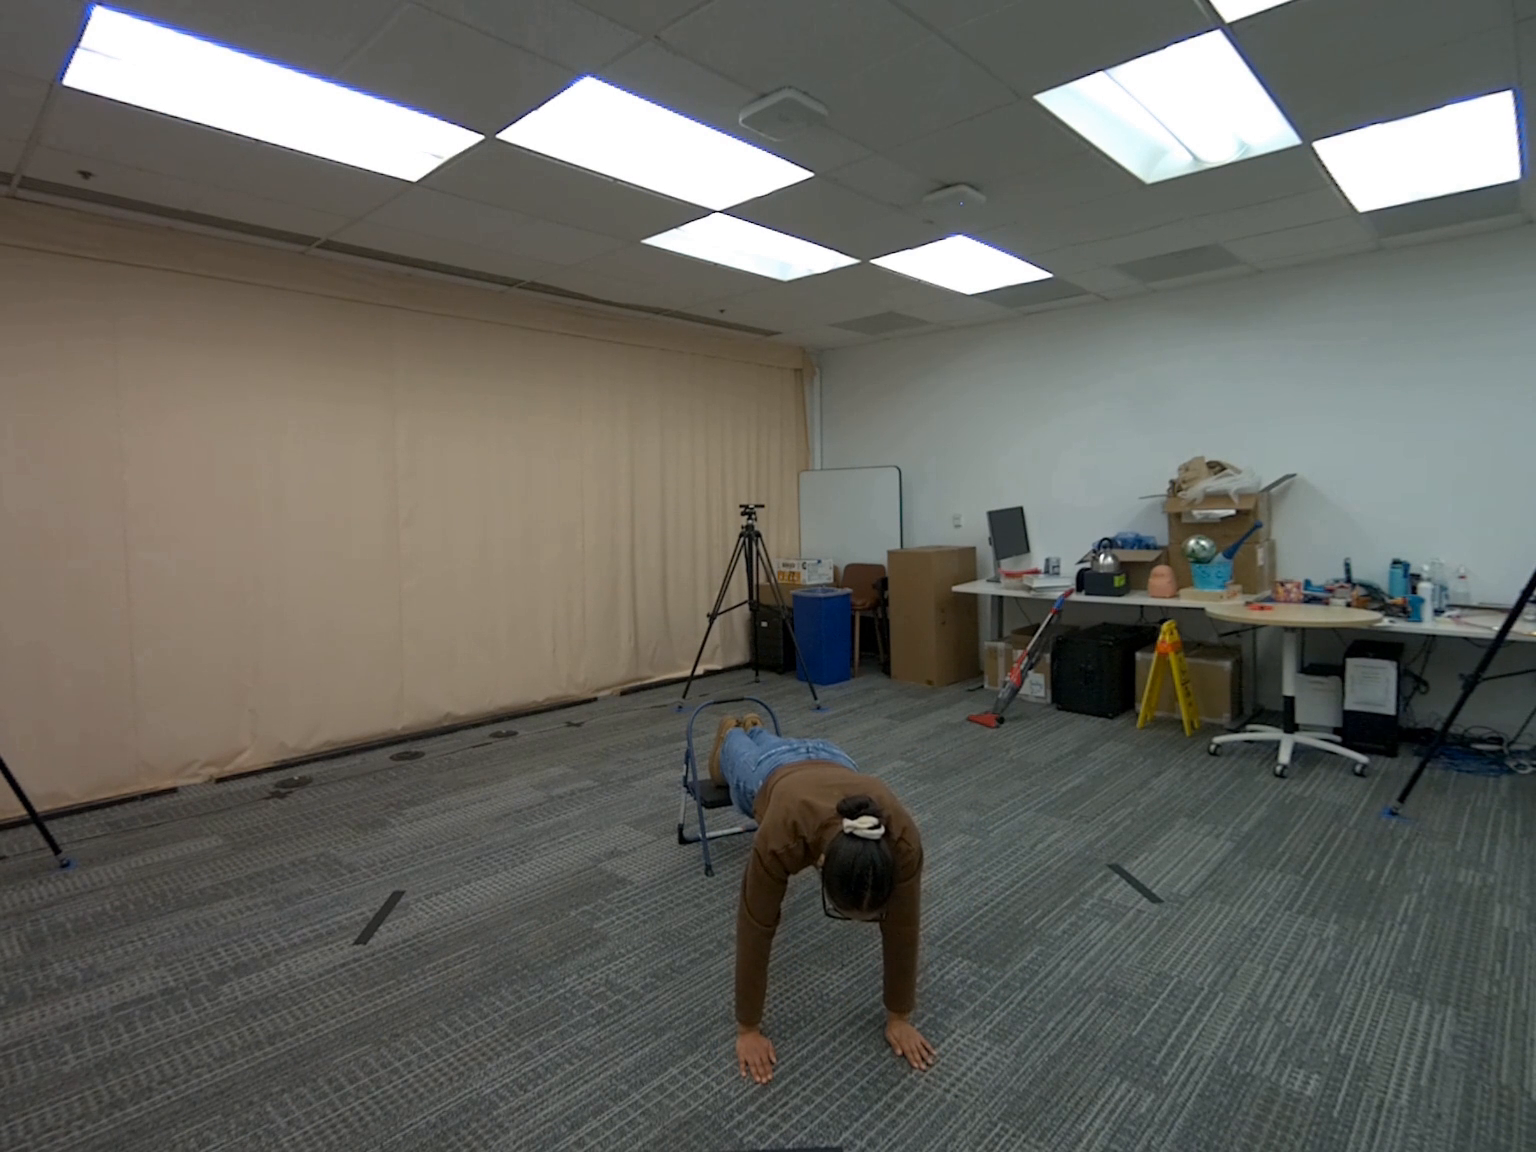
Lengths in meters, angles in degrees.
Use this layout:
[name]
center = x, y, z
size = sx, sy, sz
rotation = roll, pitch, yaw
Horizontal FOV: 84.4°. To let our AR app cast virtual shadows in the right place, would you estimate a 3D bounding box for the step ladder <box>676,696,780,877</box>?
[step ladder]
center = -0.119, 0.807, 3.388
size = 0.420, 0.605, 0.358
rotation = -3, 3, -25
